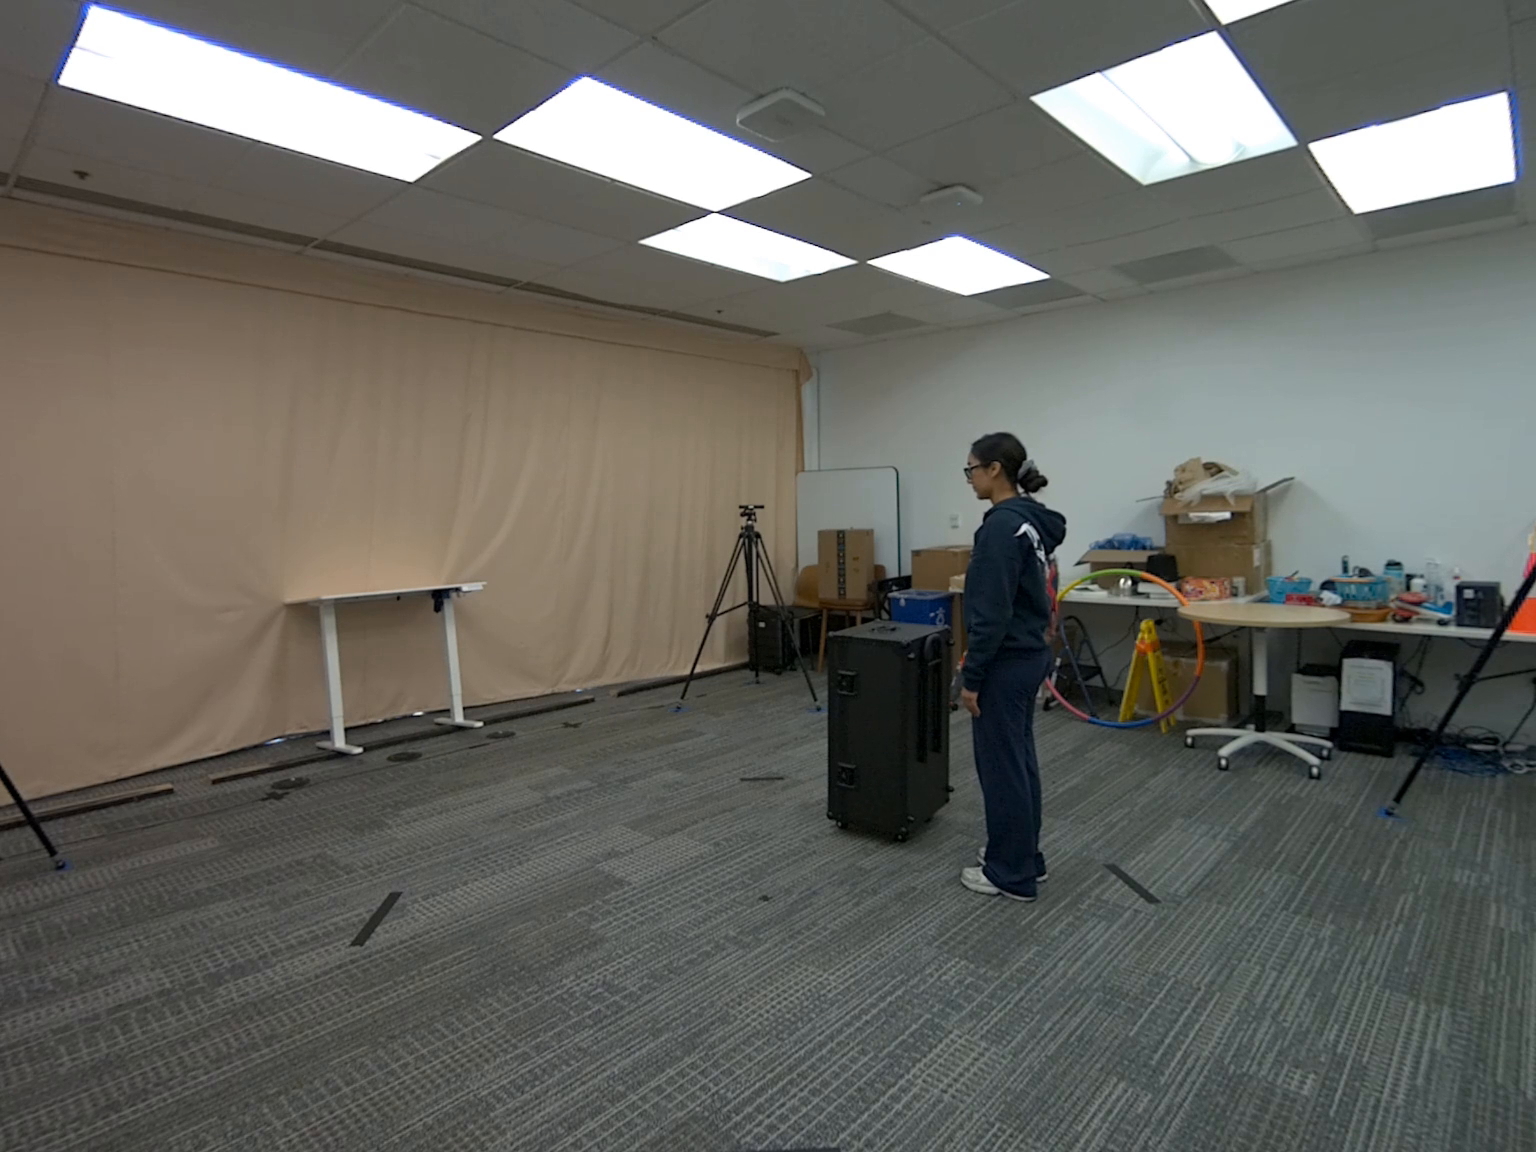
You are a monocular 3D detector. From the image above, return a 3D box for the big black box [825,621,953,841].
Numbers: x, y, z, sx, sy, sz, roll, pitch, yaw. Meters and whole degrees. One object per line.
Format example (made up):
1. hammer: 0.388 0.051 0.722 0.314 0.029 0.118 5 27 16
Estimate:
1. big black box: 0.541 0.652 3.612 0.409 0.859 0.506 3 5 34
